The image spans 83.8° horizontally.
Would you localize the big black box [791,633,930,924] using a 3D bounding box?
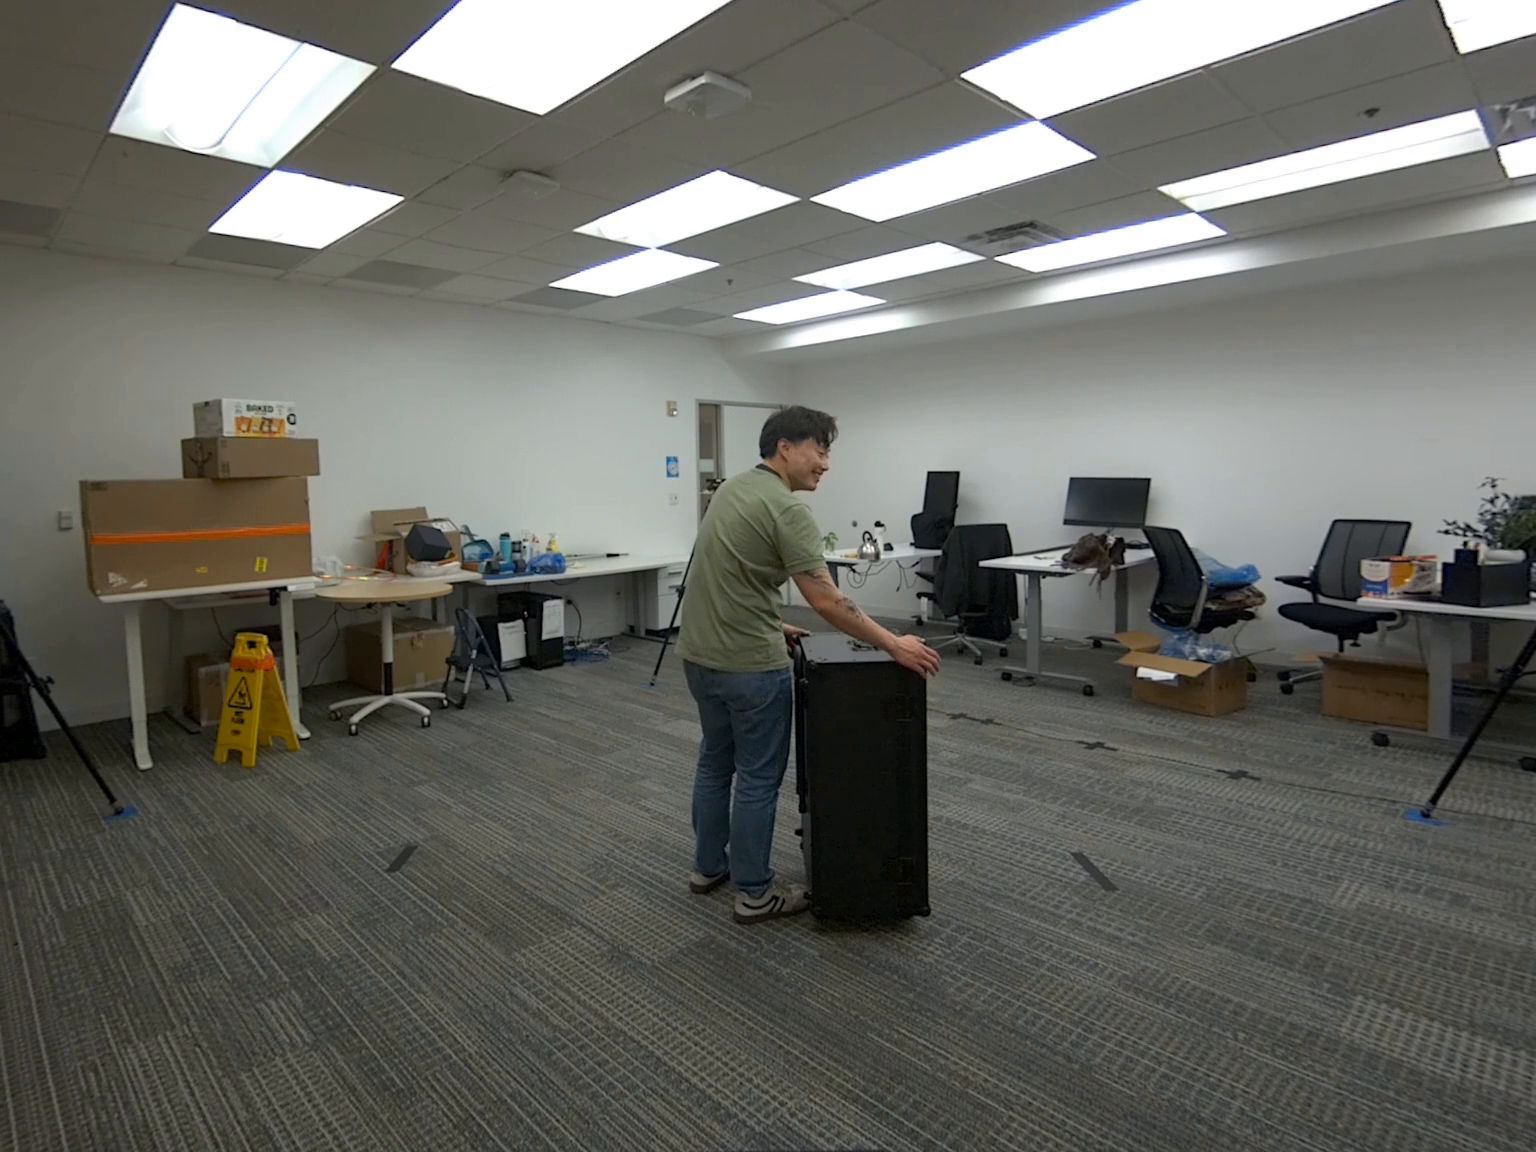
[{"bbox_3d":[0.288,0.648,2.788,0.397,0.858,0.522,-3,4,2],"label":"big black box"}]
